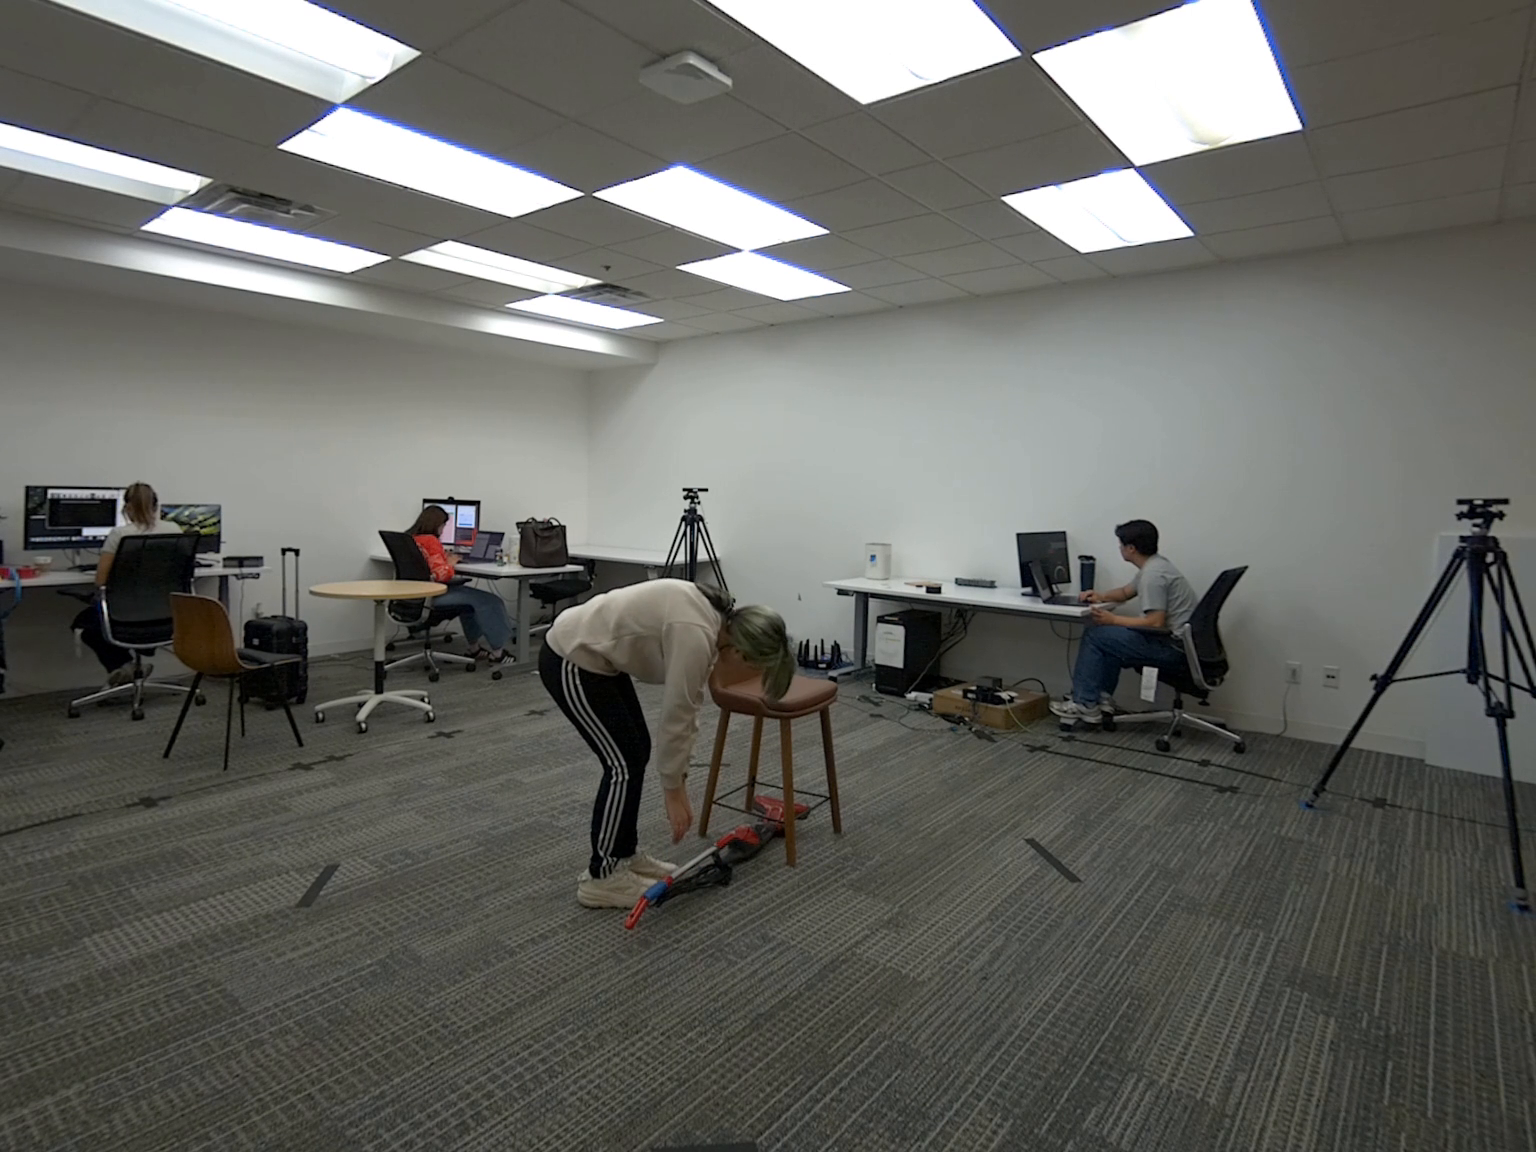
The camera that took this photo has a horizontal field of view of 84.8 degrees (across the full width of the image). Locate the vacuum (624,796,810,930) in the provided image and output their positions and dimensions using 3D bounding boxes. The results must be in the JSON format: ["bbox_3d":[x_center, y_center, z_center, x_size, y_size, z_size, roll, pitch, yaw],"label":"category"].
[{"bbox_3d":[-0.195,1.028,3.031,0.259,0.143,1.025,3,6,27],"label":"vacuum"}]
